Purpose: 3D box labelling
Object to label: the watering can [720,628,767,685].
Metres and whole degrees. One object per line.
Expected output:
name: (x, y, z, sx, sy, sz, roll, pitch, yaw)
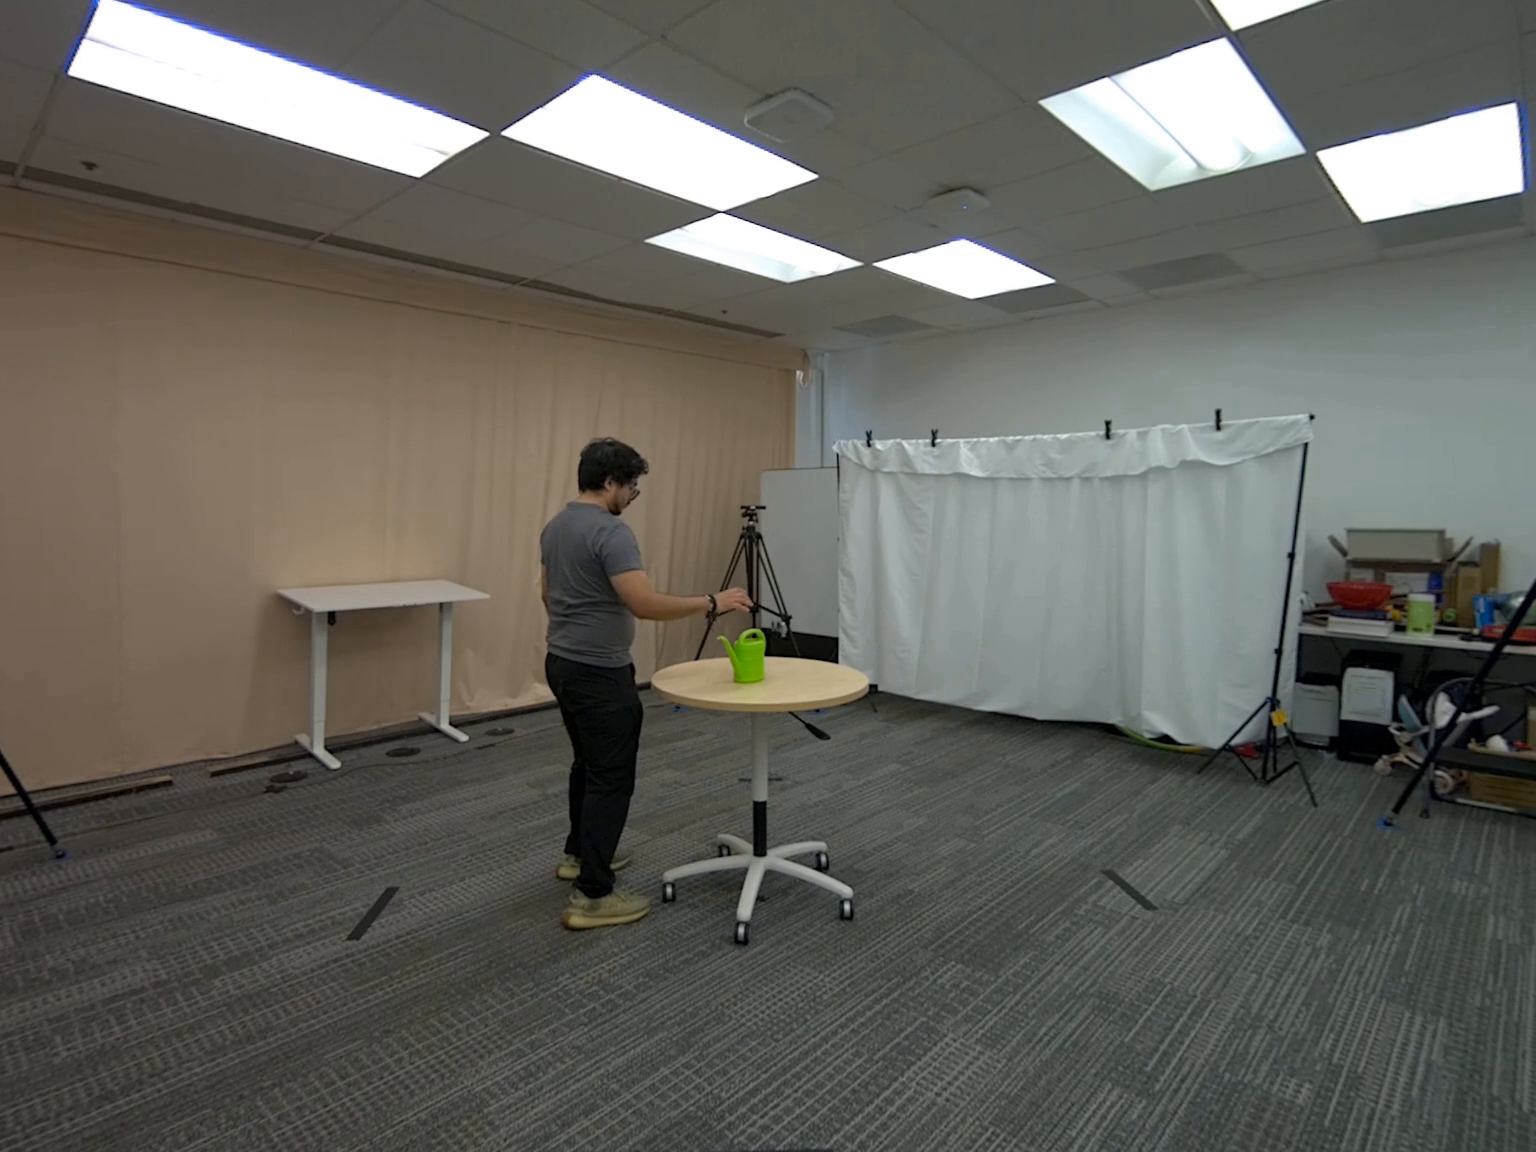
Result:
watering can: (-0.093, 0.279, 2.906, 0.270, 0.176, 0.101, -4, 5, -42)
